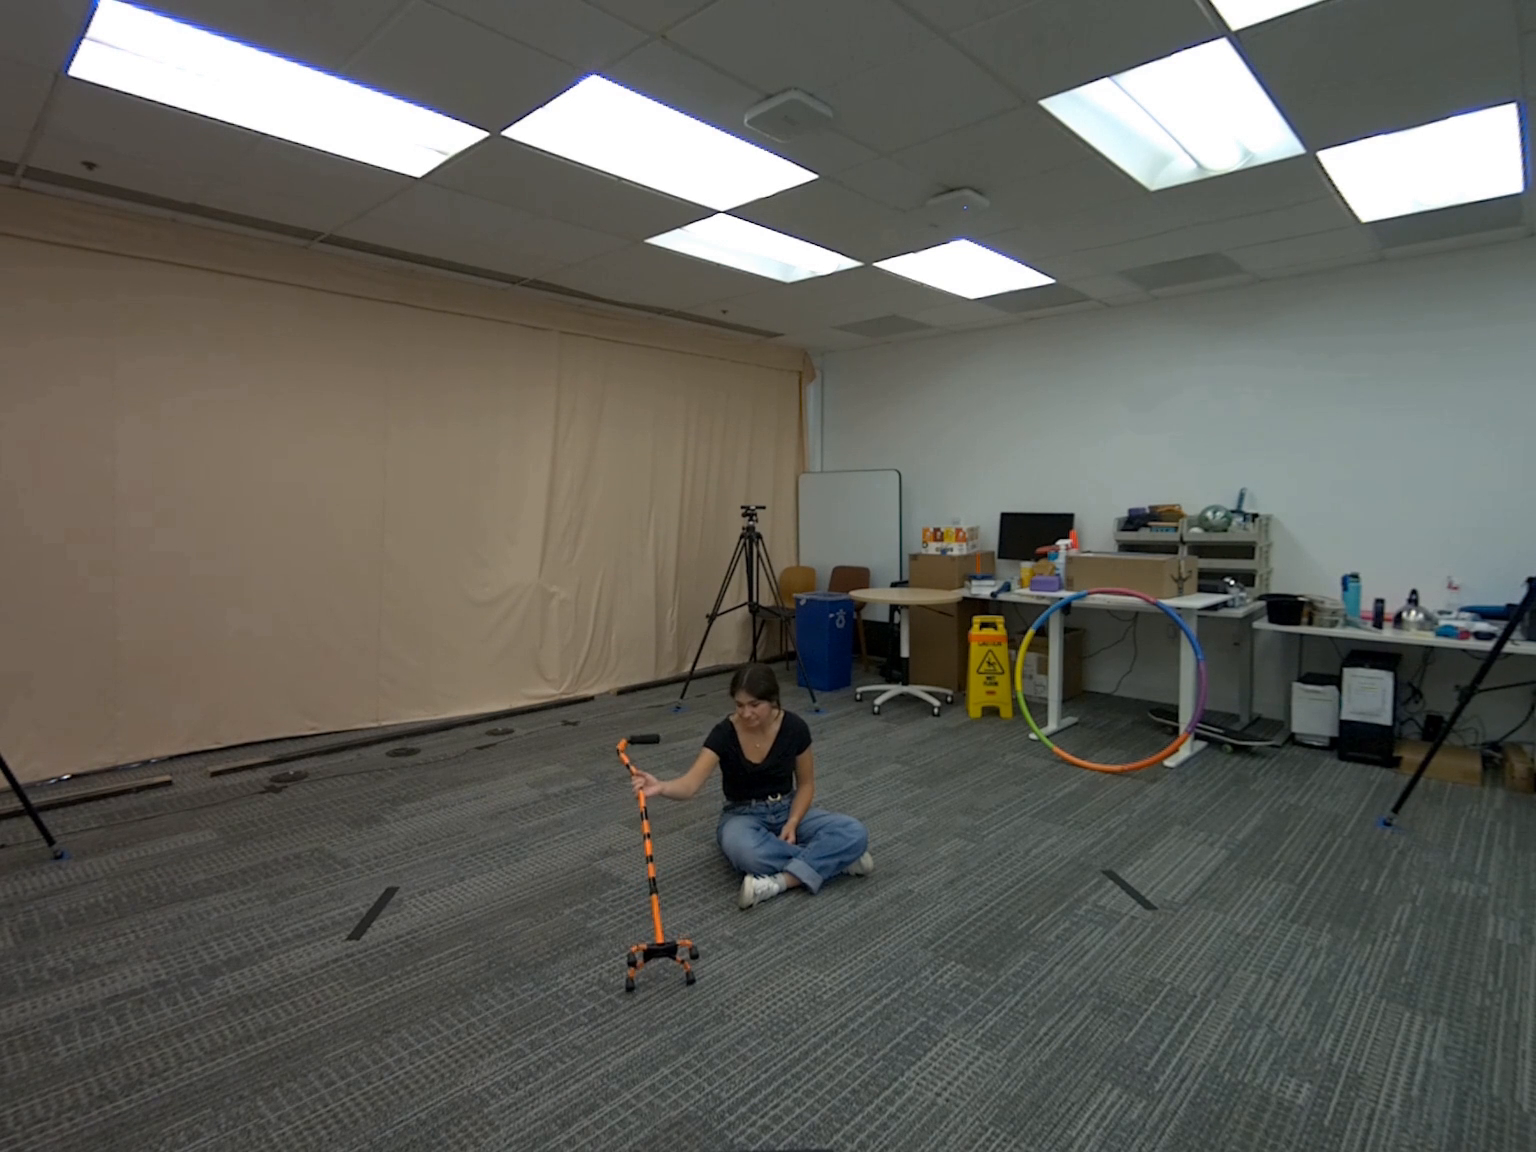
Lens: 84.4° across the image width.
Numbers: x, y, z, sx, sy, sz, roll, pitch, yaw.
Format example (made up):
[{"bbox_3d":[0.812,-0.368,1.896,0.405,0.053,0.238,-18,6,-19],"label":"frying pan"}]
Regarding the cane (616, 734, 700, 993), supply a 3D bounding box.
[{"bbox_3d":[-0.395,0.865,2.771,0.204,0.150,0.932,-1,34,-14],"label":"cane"}]
